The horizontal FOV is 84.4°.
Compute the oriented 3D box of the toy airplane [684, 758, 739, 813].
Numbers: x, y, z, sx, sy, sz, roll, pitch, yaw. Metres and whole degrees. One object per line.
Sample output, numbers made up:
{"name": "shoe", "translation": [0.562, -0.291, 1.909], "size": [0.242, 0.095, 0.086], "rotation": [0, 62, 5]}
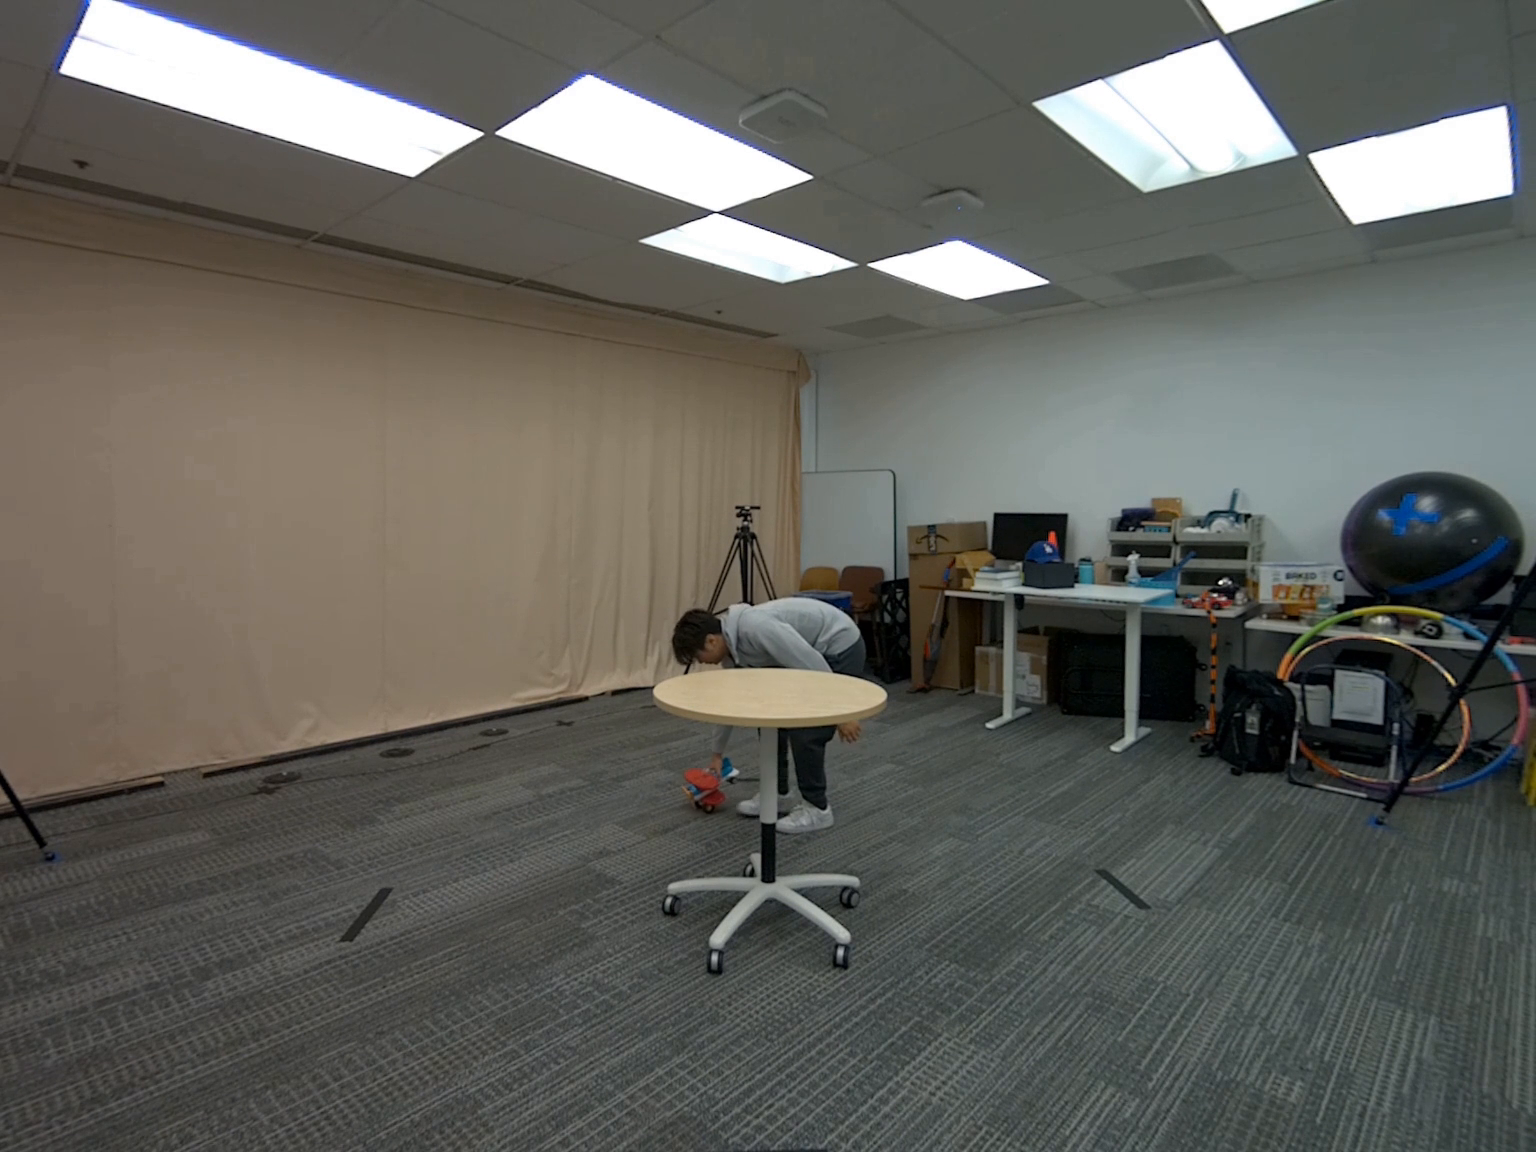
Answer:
{"name": "toy airplane", "translation": [-0.274, 0.963, 3.896], "size": [0.257, 0.153, 0.258], "rotation": [-15, 26, 33]}
